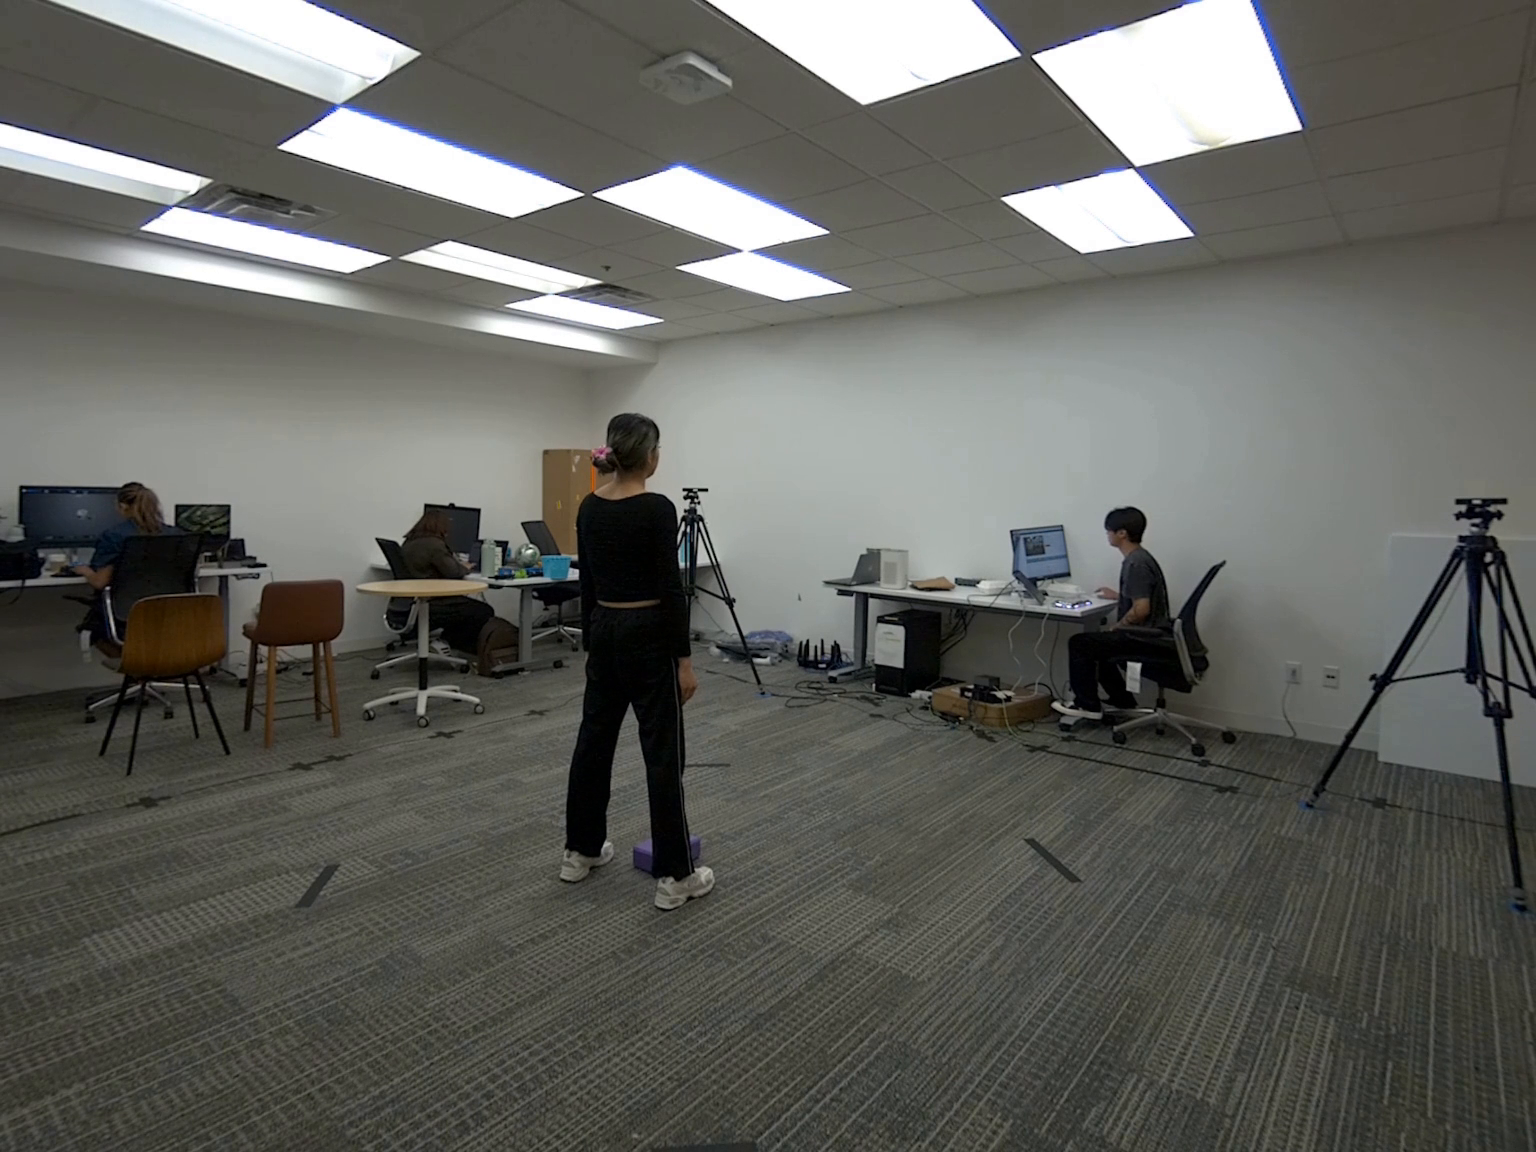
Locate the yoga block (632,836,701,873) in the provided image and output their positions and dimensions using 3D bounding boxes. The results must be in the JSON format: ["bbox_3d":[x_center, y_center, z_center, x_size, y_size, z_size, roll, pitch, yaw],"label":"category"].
[{"bbox_3d":[-0.384,1.019,3.162,0.154,0.076,0.223,3,4,34],"label":"yoga block"}]
